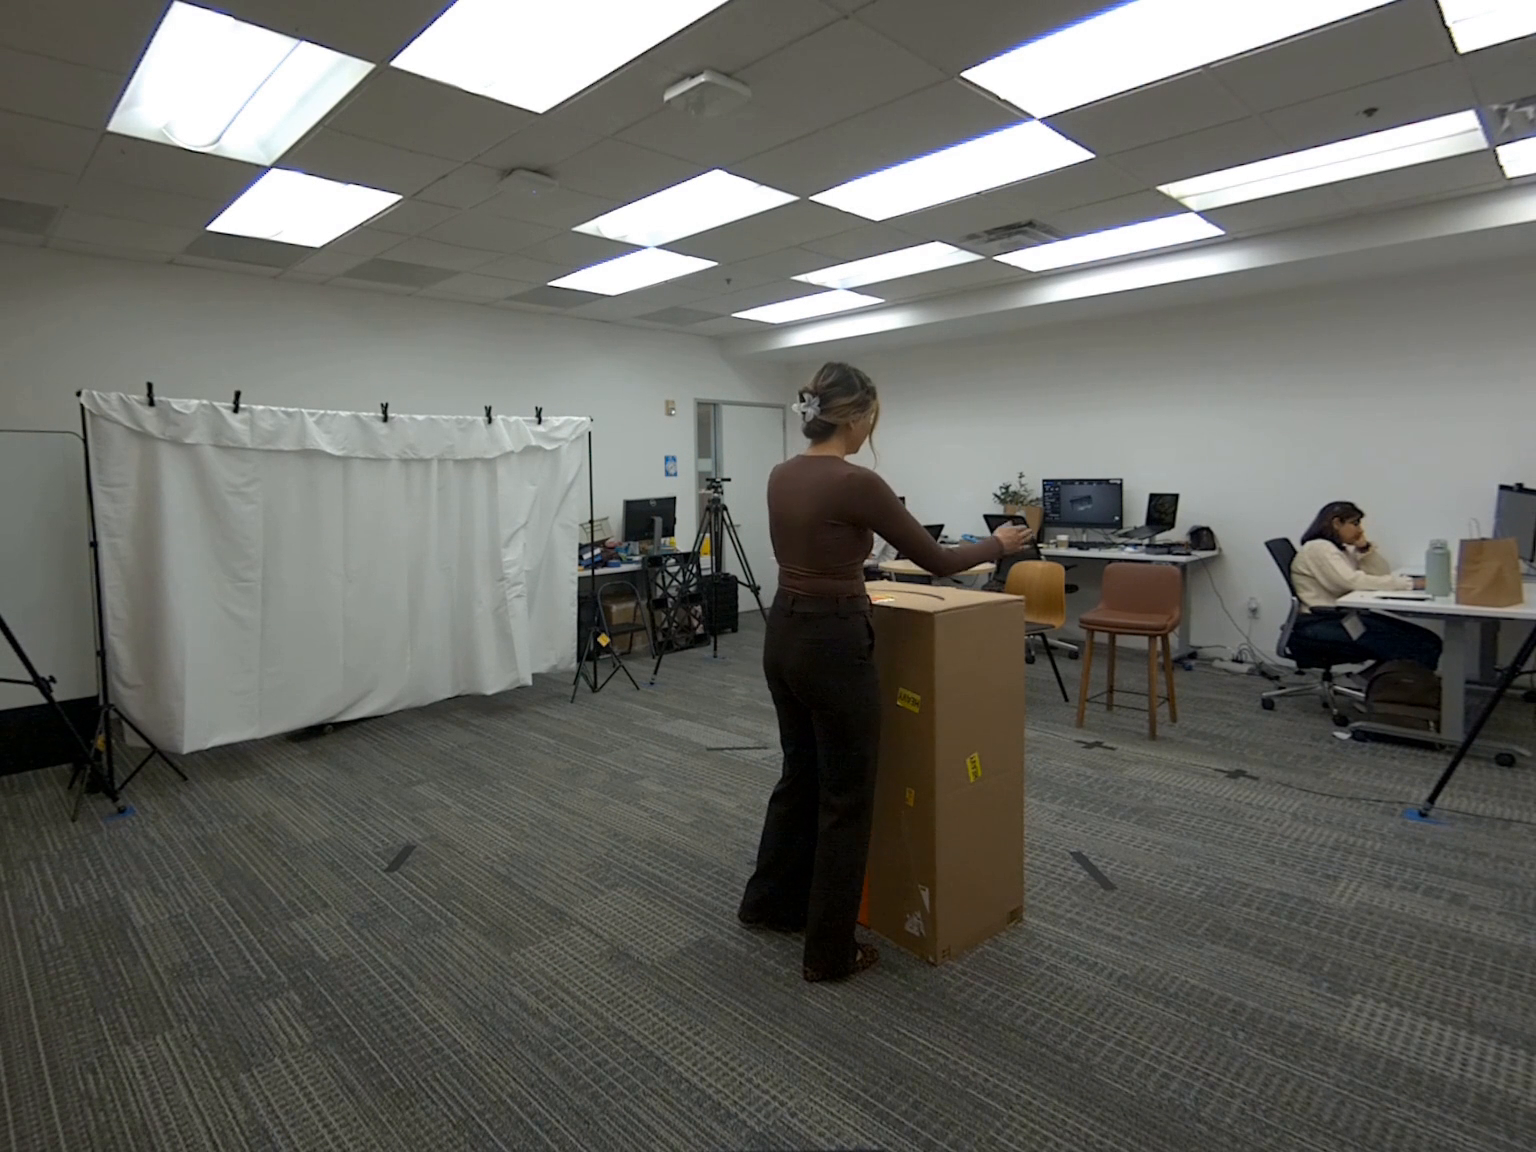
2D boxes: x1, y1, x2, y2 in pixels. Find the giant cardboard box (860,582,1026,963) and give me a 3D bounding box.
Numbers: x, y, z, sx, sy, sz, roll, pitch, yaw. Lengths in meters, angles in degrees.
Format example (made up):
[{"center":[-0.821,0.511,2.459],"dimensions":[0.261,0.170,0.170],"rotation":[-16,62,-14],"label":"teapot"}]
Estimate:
[{"center":[0.455,0.563,2.751],"dimensions":[0.436,1.023,0.601],"rotation":[-5,6,-36],"label":"giant cardboard box"}]
